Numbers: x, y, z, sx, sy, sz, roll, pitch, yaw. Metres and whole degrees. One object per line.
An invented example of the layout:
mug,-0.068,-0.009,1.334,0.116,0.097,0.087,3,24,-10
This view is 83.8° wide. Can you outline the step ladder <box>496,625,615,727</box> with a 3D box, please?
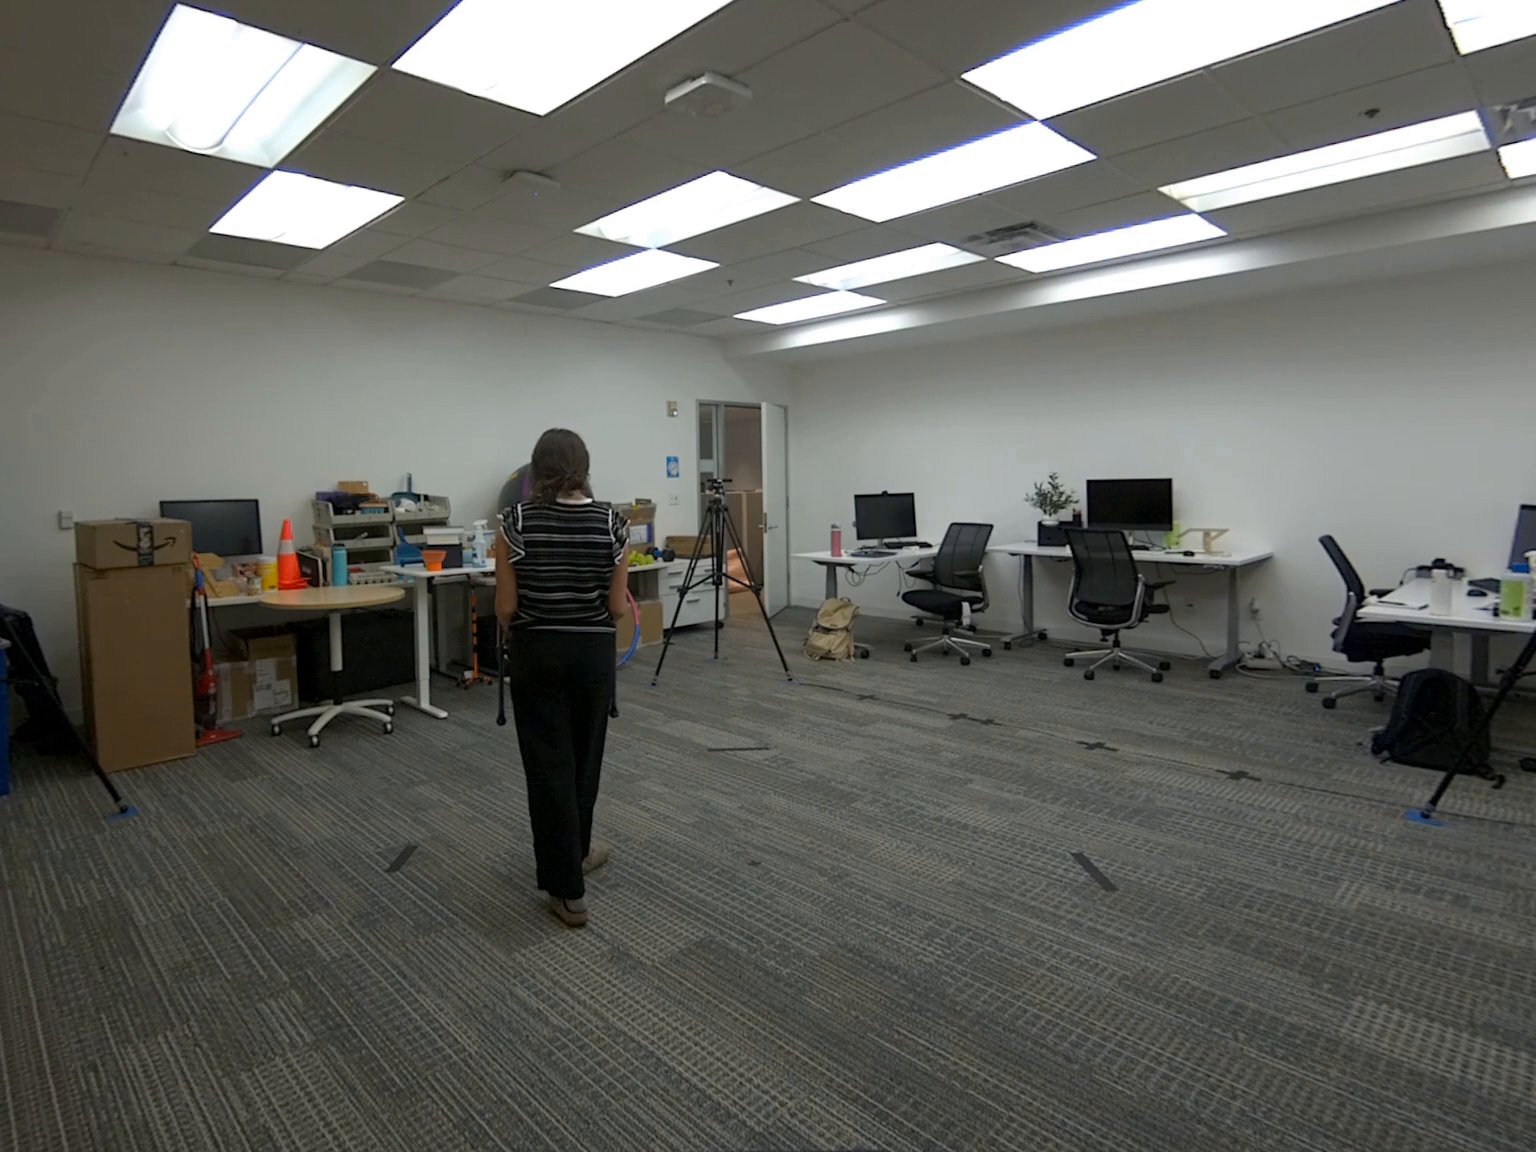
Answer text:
step ladder,-0.735,0.163,3.026,0.423,0.594,0.362,-1,33,-18
